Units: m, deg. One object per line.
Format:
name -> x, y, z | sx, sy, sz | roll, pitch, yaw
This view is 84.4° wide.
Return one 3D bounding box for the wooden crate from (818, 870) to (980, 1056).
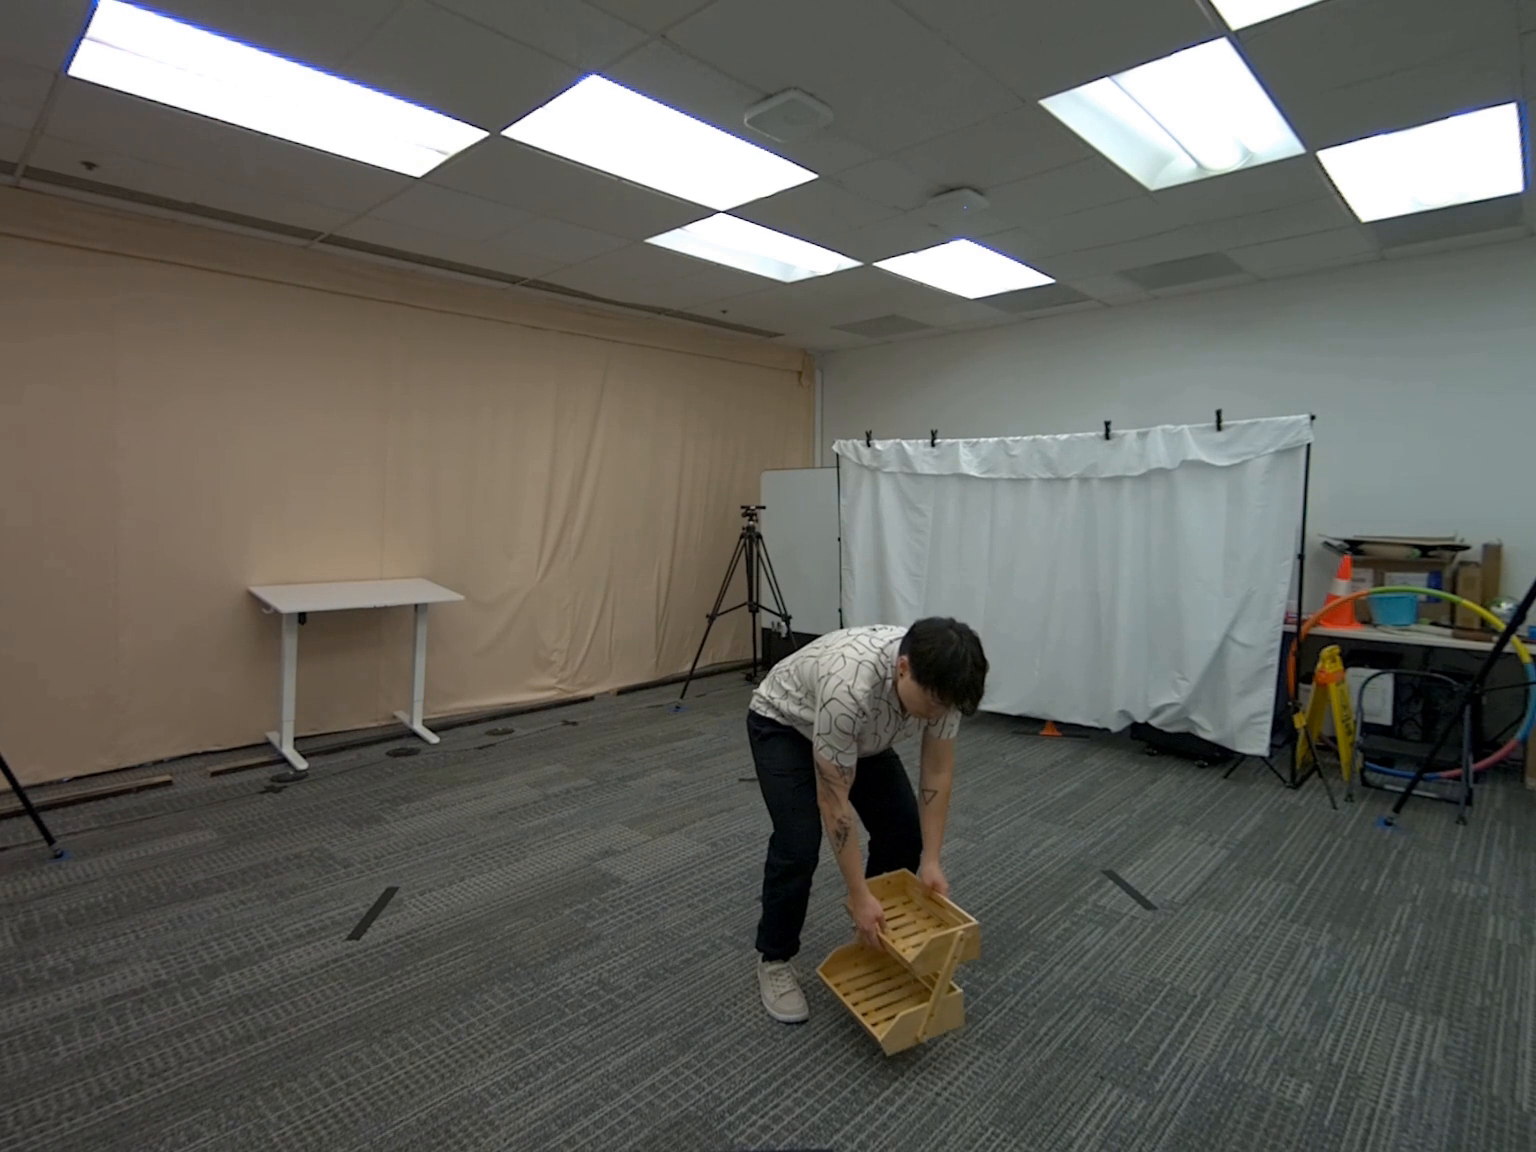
wooden crate -> 0.320, 0.984, 2.166 | 0.296, 0.272, 0.333 | -6, 10, -22
